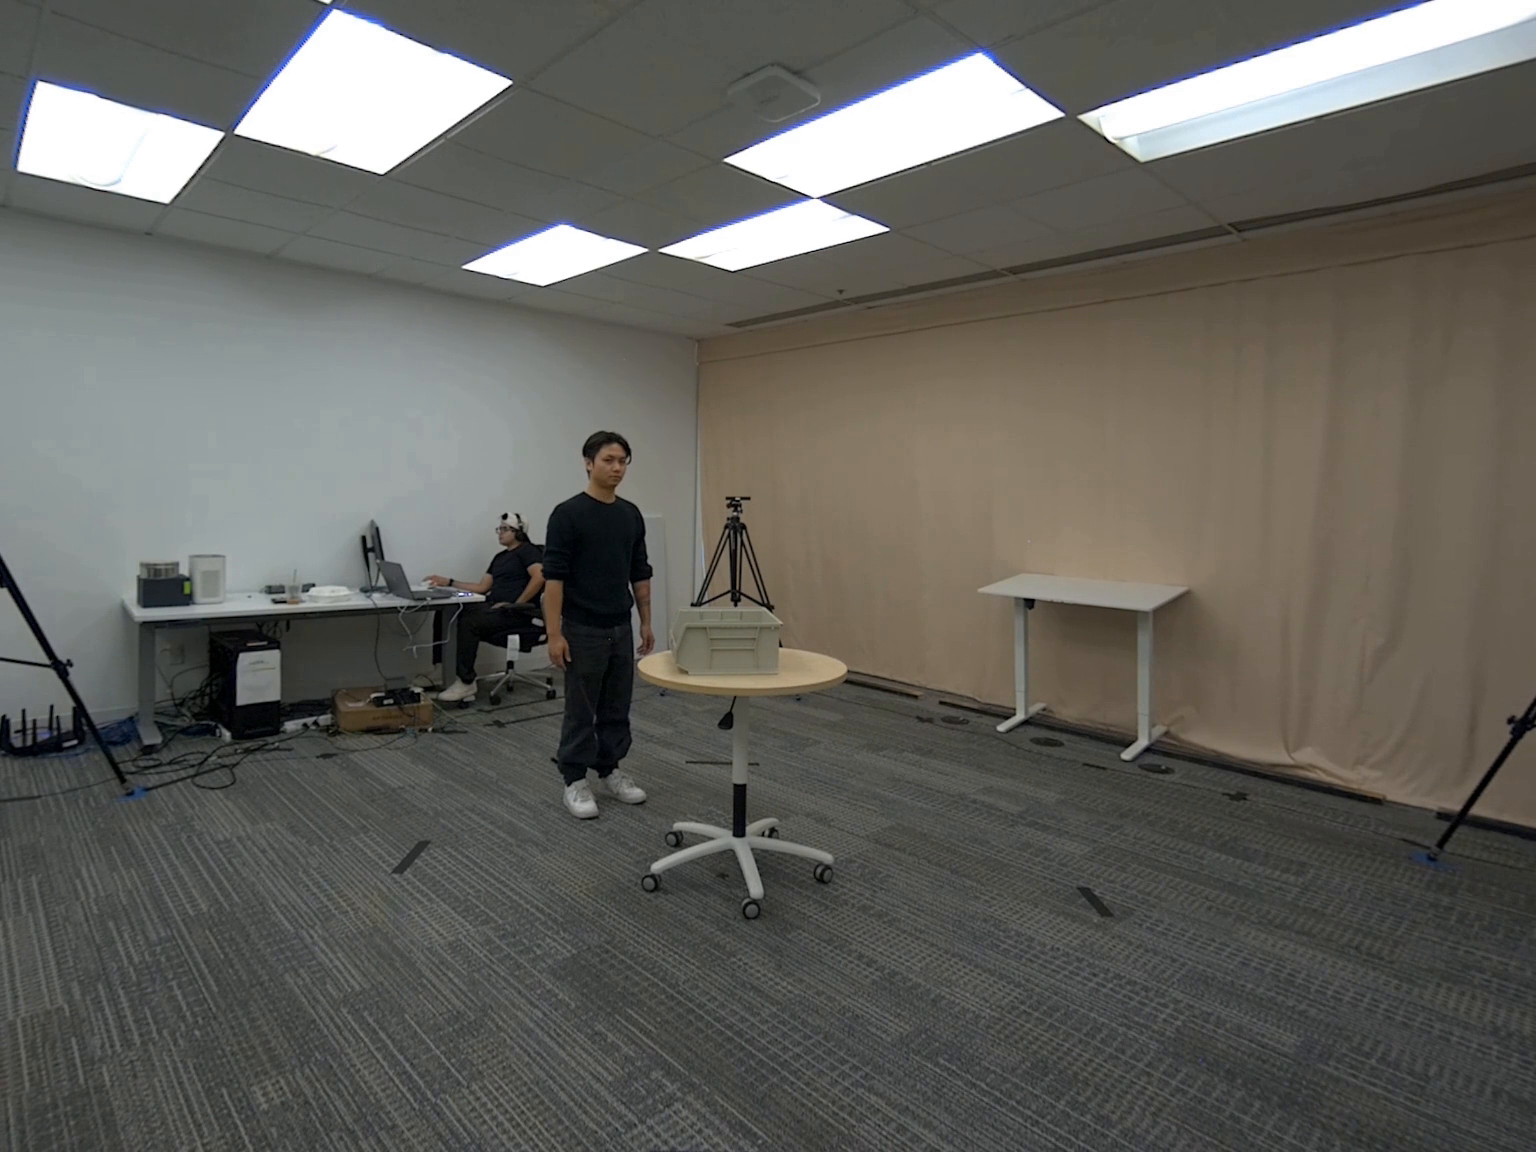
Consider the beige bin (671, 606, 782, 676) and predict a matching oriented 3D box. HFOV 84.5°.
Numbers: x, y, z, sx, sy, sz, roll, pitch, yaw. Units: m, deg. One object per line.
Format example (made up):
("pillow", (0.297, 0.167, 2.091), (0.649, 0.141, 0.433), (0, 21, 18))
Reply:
("beige bin", (-0.177, 0.233, 3.102), (0.375, 0.188, 0.426), (1, 5, -8))
